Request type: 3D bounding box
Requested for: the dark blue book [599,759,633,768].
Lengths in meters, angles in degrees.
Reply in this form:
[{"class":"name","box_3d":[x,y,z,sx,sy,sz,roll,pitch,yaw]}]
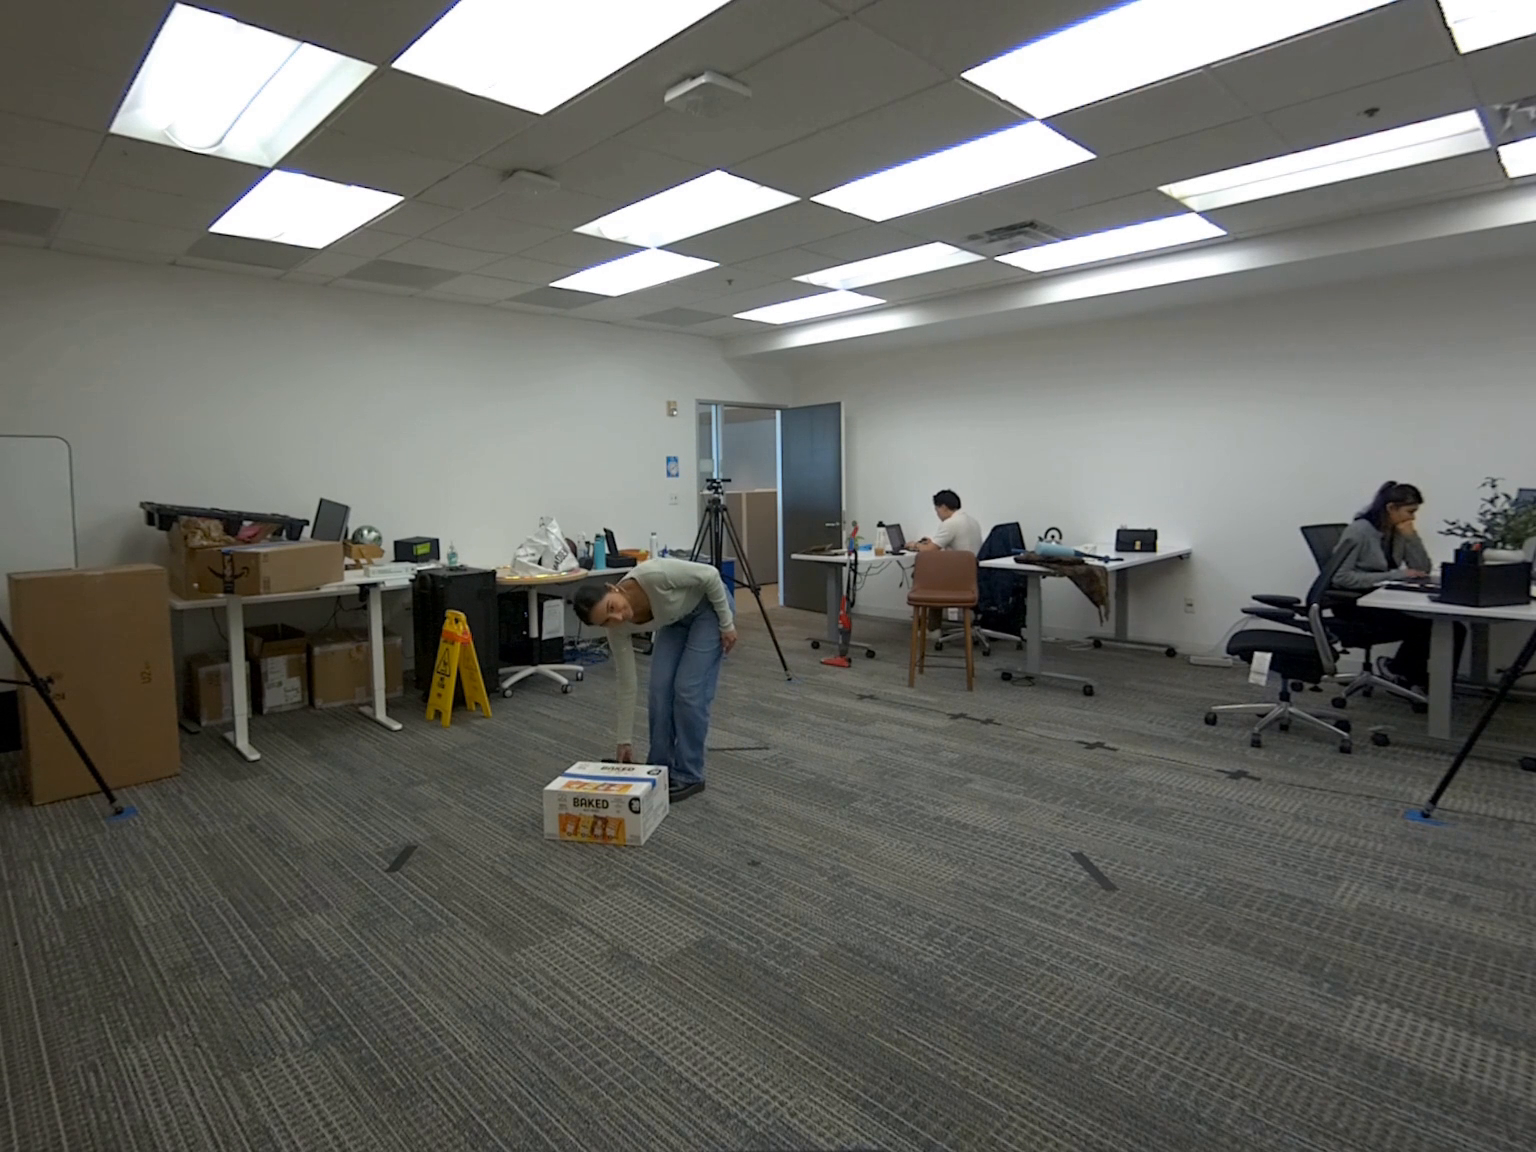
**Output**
[{"class":"dark blue book","box_3d":[-0.611,0.884,3.713,0.250,0.165,0.044,1,-13,19]}]
